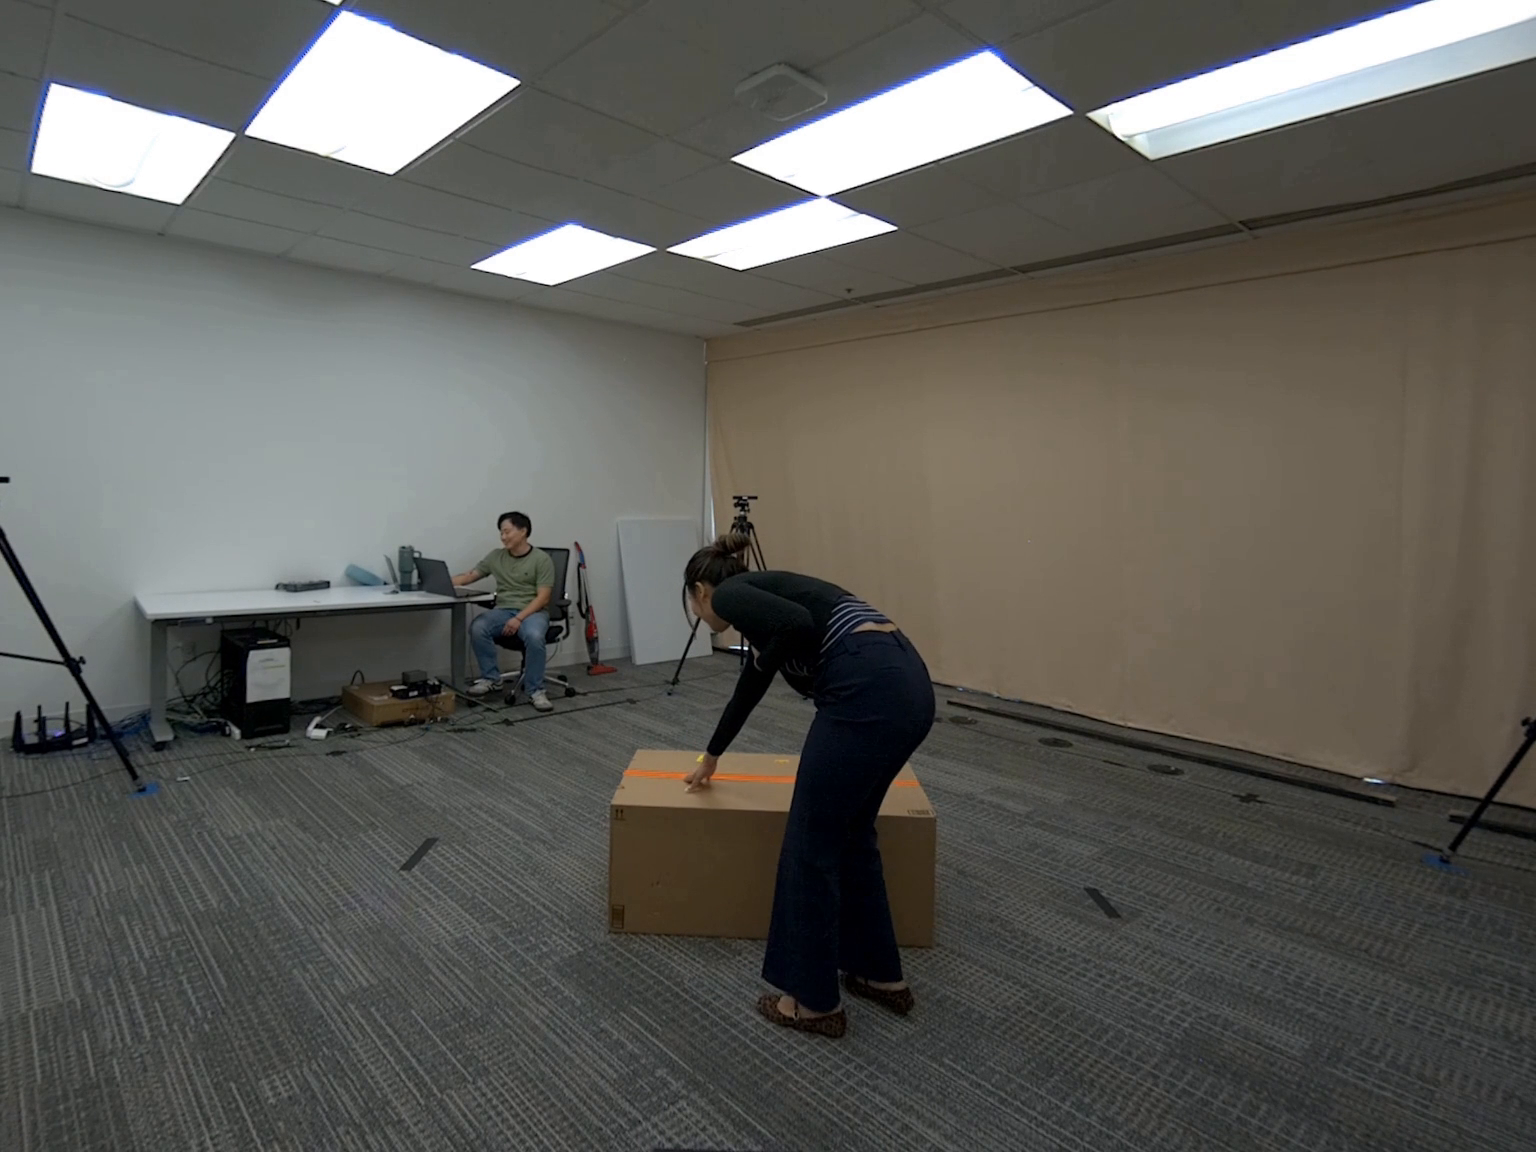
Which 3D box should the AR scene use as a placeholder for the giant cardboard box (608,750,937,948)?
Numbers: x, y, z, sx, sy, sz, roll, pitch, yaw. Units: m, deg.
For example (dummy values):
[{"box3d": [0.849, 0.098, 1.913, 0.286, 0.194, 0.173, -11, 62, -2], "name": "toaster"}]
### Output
[{"box3d": [0.004, 0.908, 2.914, 1.027, 0.425, 0.578, 1, 4, 2], "name": "giant cardboard box"}]
